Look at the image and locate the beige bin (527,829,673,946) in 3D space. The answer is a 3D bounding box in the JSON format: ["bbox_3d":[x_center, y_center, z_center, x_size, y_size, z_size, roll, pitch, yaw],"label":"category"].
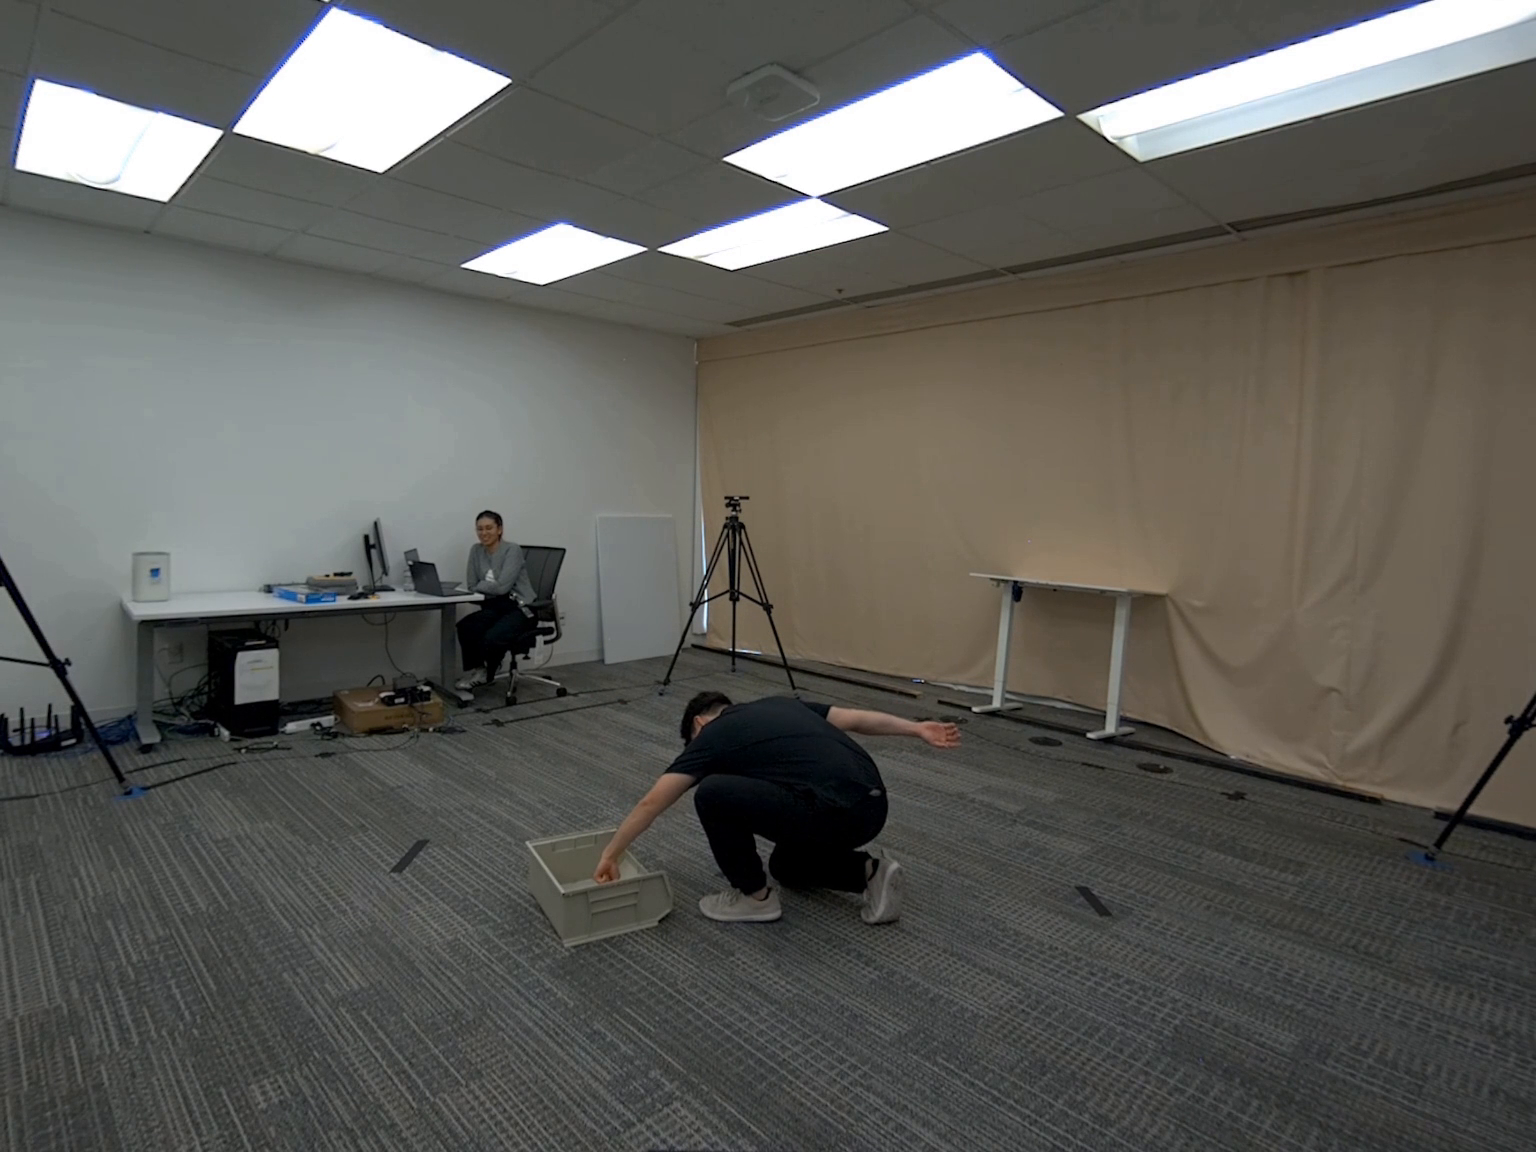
[{"bbox_3d":[-0.575,1.024,2.841,0.370,0.188,0.432,-2,7,-30],"label":"beige bin"}]
